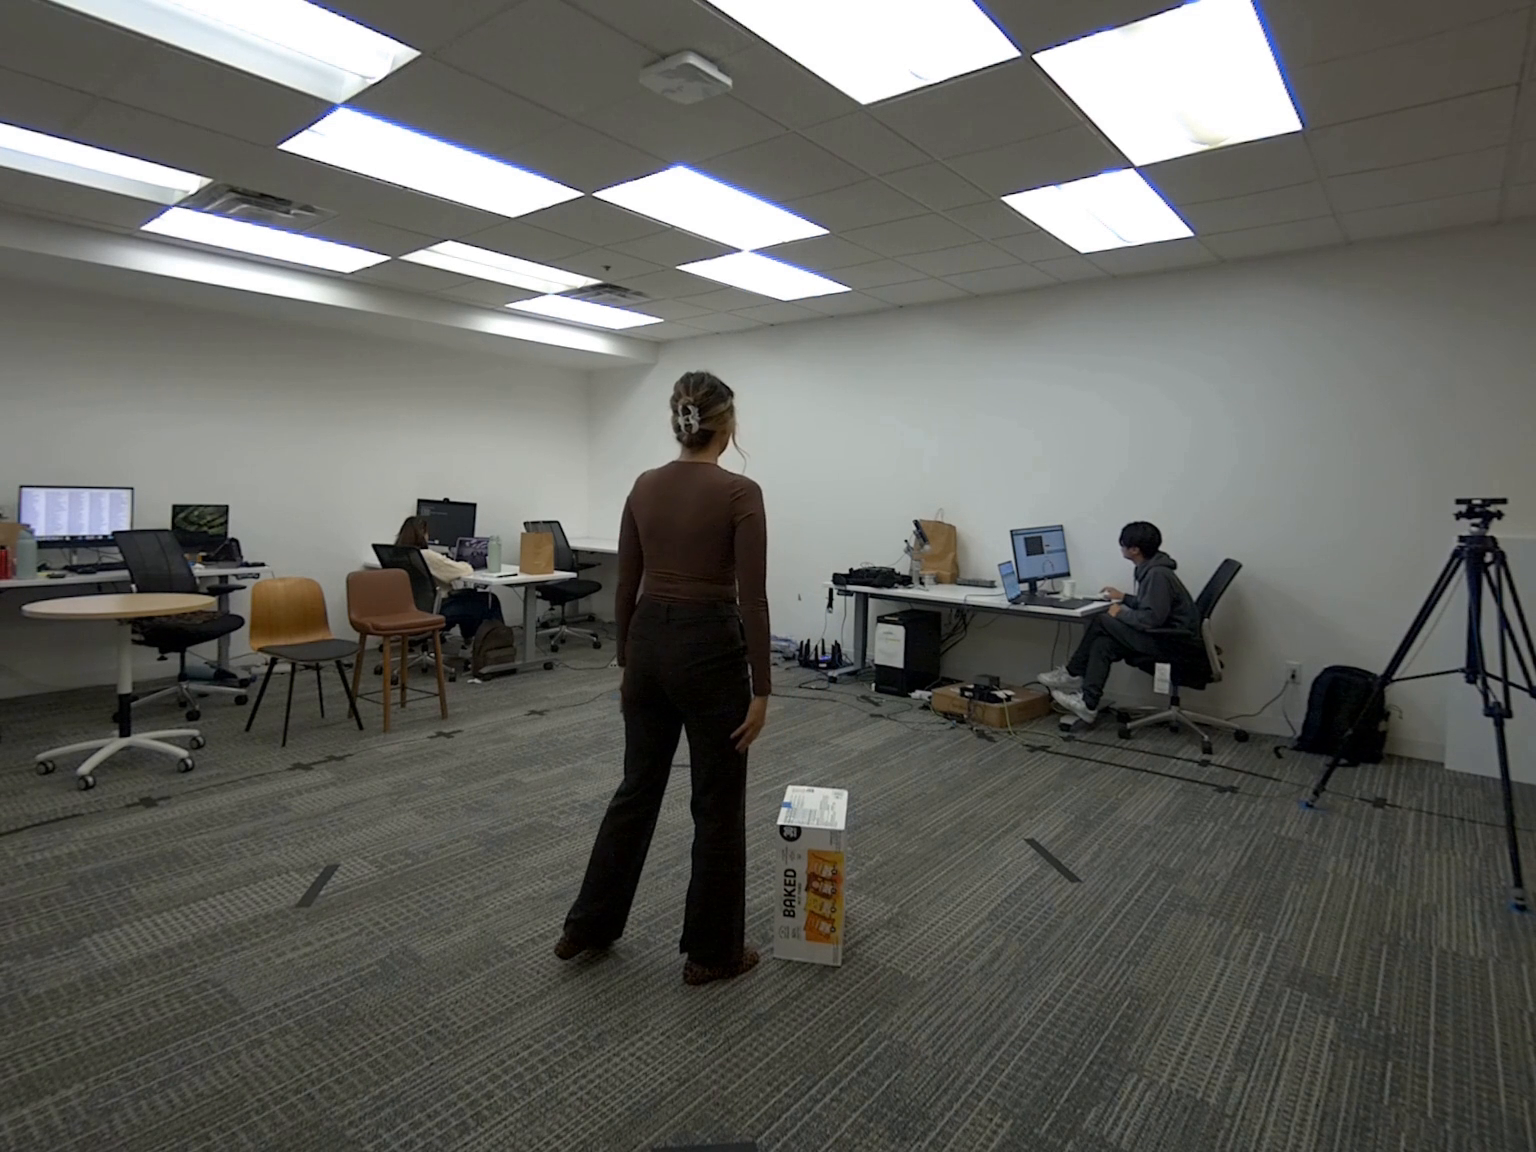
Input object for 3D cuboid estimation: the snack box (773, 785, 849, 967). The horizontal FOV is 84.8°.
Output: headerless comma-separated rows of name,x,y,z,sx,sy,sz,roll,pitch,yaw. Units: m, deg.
snack box,0.136,0.921,2.658,0.208,0.404,0.338,2,4,8
